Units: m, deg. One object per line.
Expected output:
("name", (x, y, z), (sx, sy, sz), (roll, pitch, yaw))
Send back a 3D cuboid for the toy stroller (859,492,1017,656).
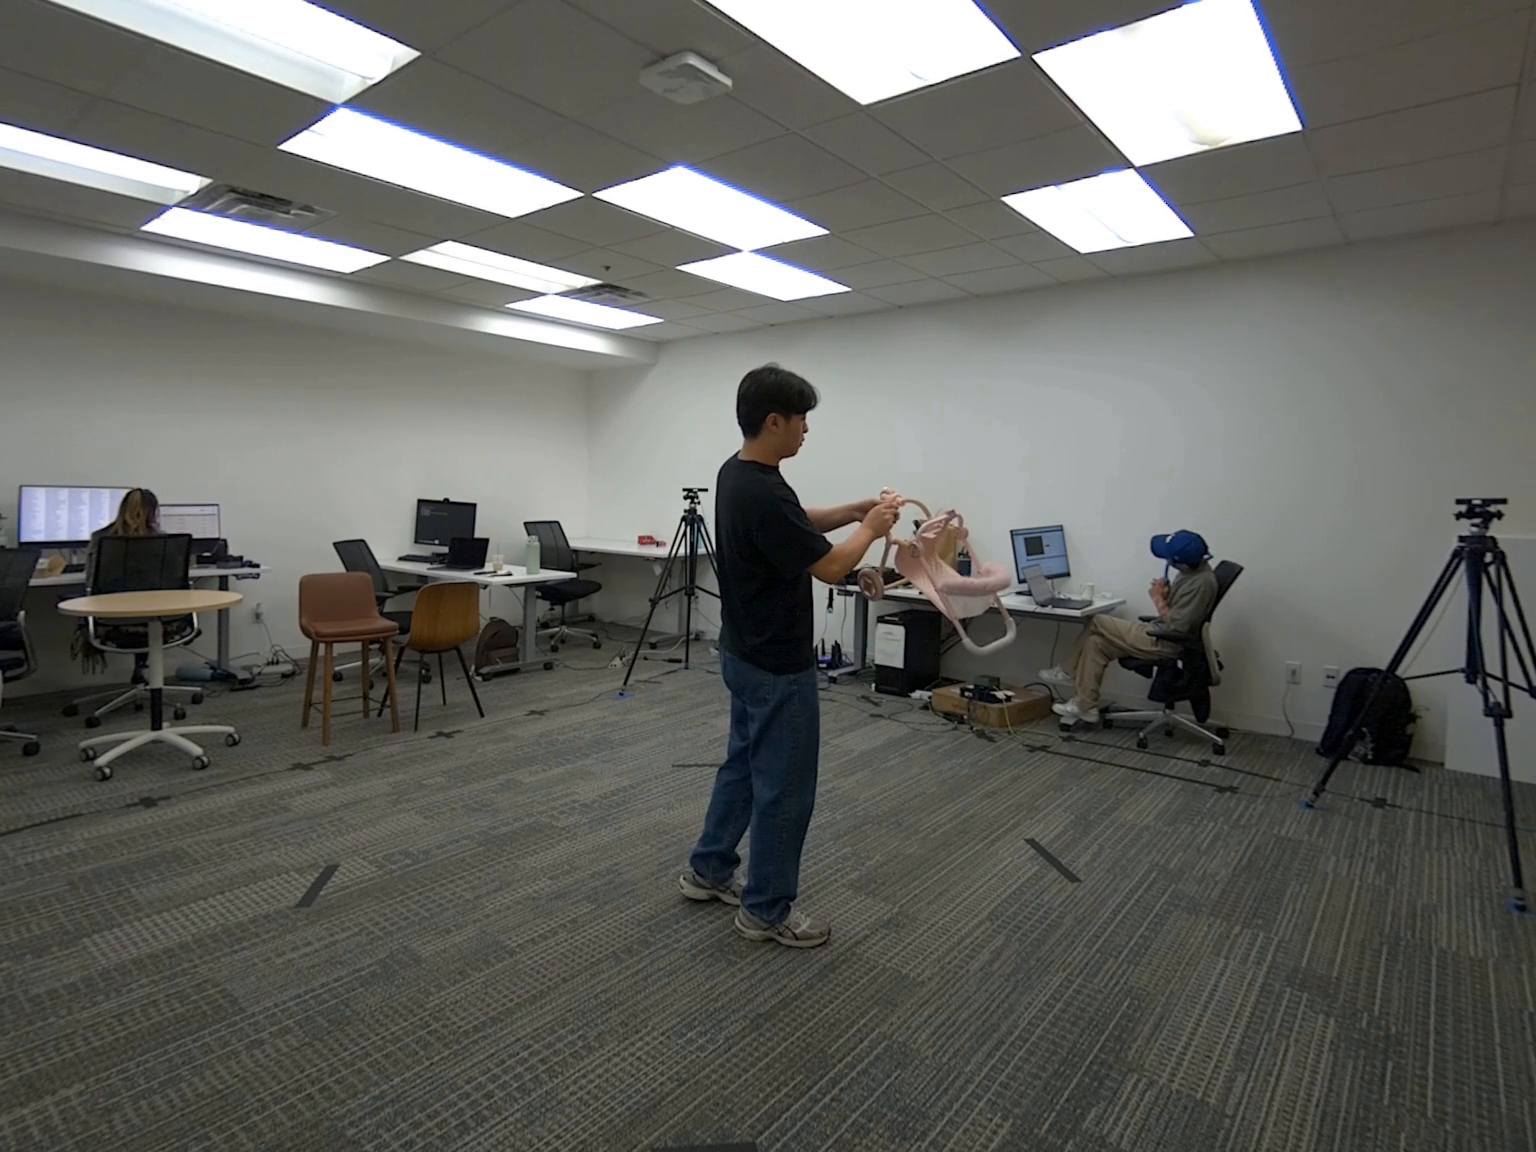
("toy stroller", (0.510, -0.034, 2.599), (0.275, 0.334, 0.558), (-13, 32, -33))
